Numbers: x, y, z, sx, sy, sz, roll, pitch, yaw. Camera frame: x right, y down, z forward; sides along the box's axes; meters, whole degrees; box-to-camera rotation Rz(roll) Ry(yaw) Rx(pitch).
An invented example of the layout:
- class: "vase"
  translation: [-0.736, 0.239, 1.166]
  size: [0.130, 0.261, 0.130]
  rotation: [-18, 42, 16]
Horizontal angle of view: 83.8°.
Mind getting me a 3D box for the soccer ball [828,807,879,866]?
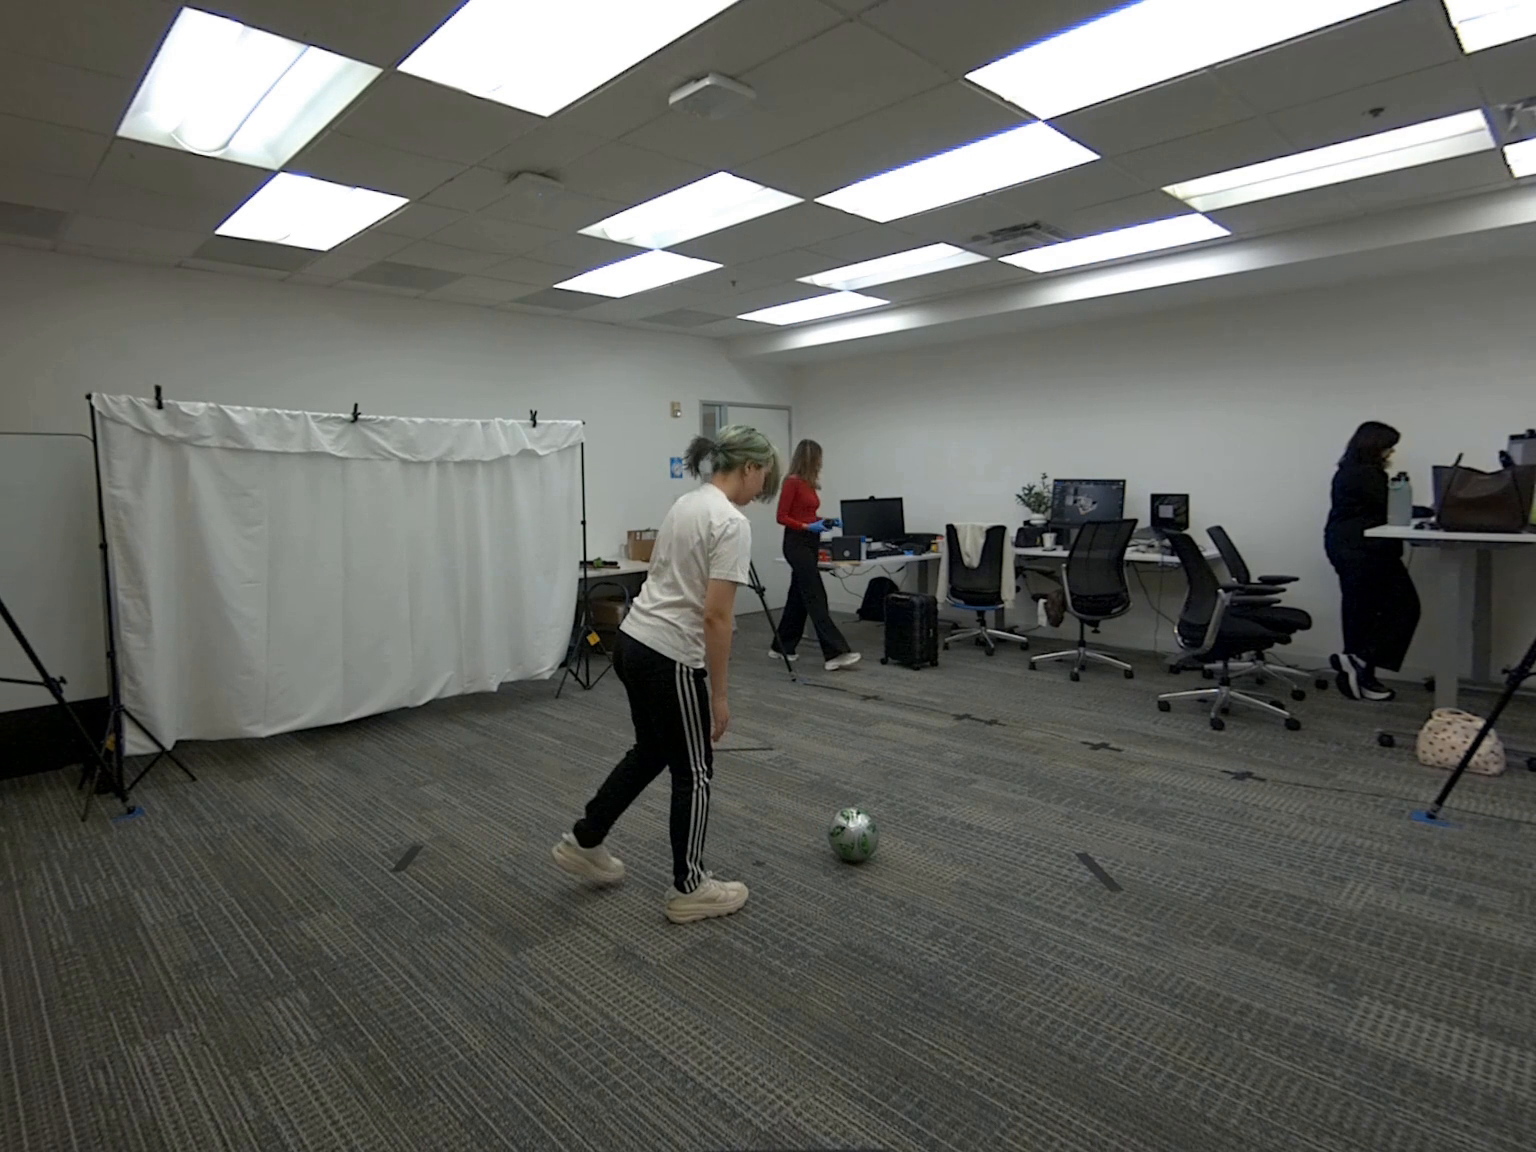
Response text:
- class: "soccer ball"
  translation: [0.312, 0.946, 3.125]
  size: [0.187, 0.187, 0.188]
  rotation: [-1, 5, -2]
